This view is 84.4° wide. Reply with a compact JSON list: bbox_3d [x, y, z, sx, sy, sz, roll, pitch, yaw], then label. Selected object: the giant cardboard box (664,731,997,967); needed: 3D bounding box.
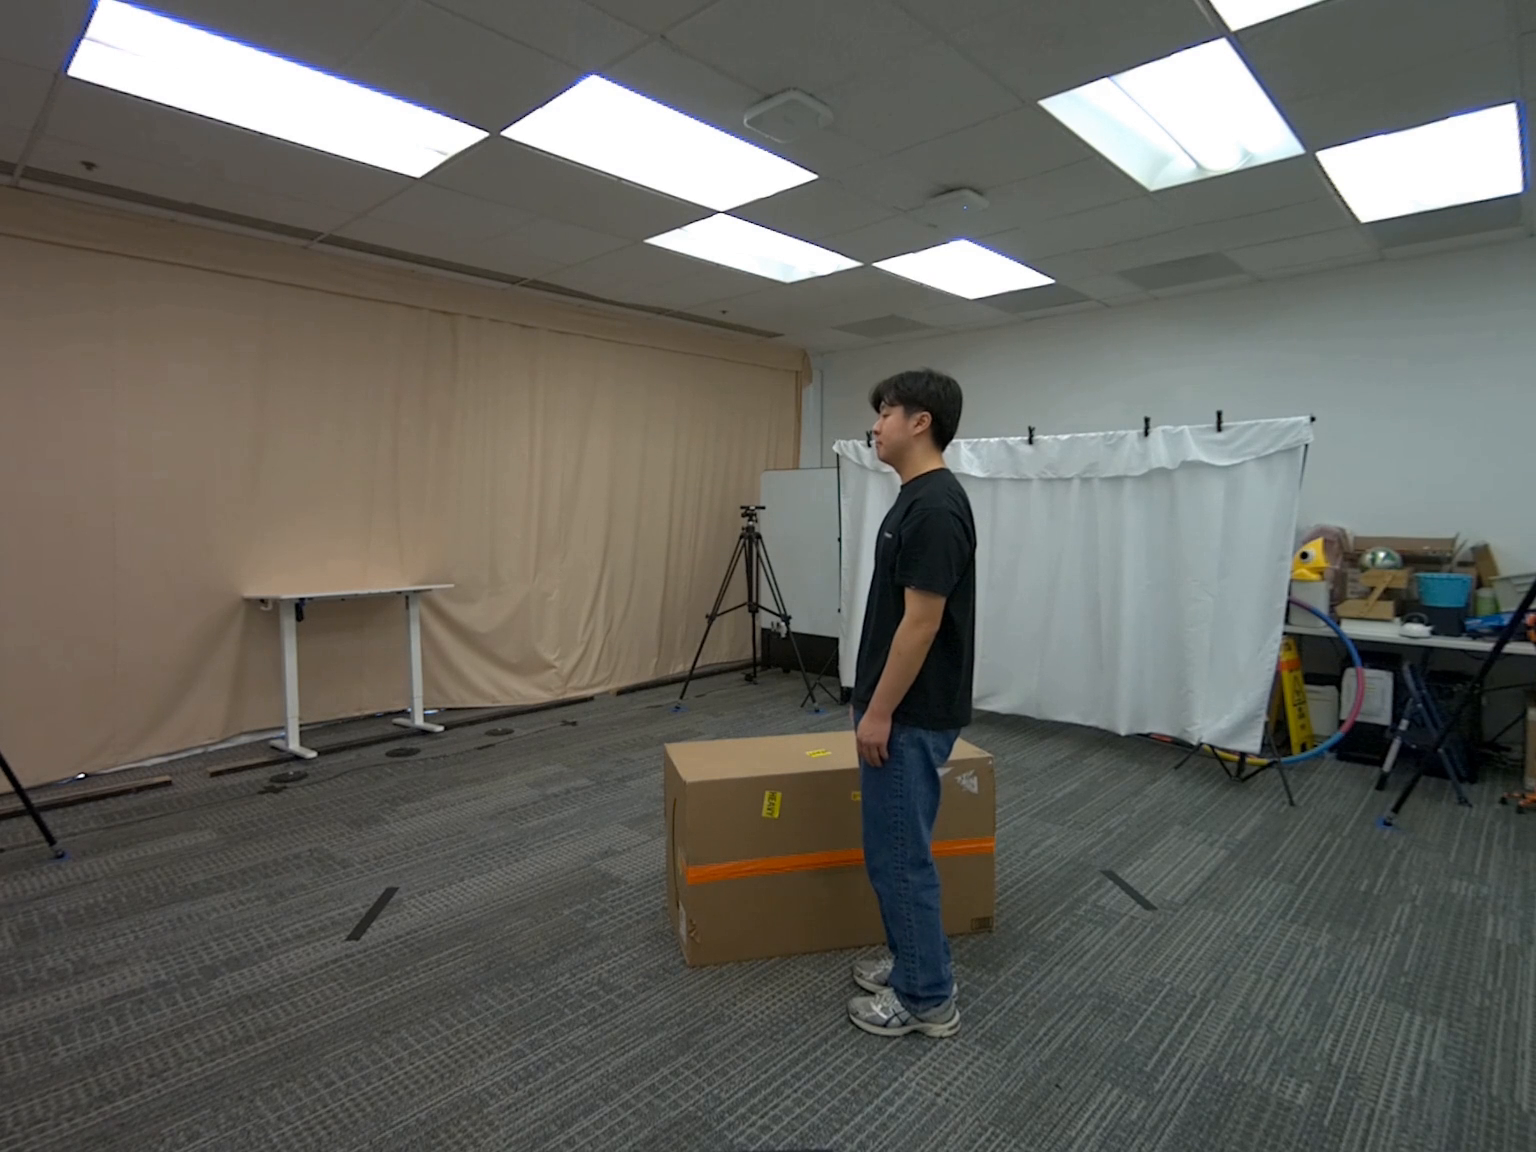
[{"bbox_3d":[0.190,0.867,2.831,1.013,0.582,0.454,-2,5,-13],"label":"giant cardboard box"}]
